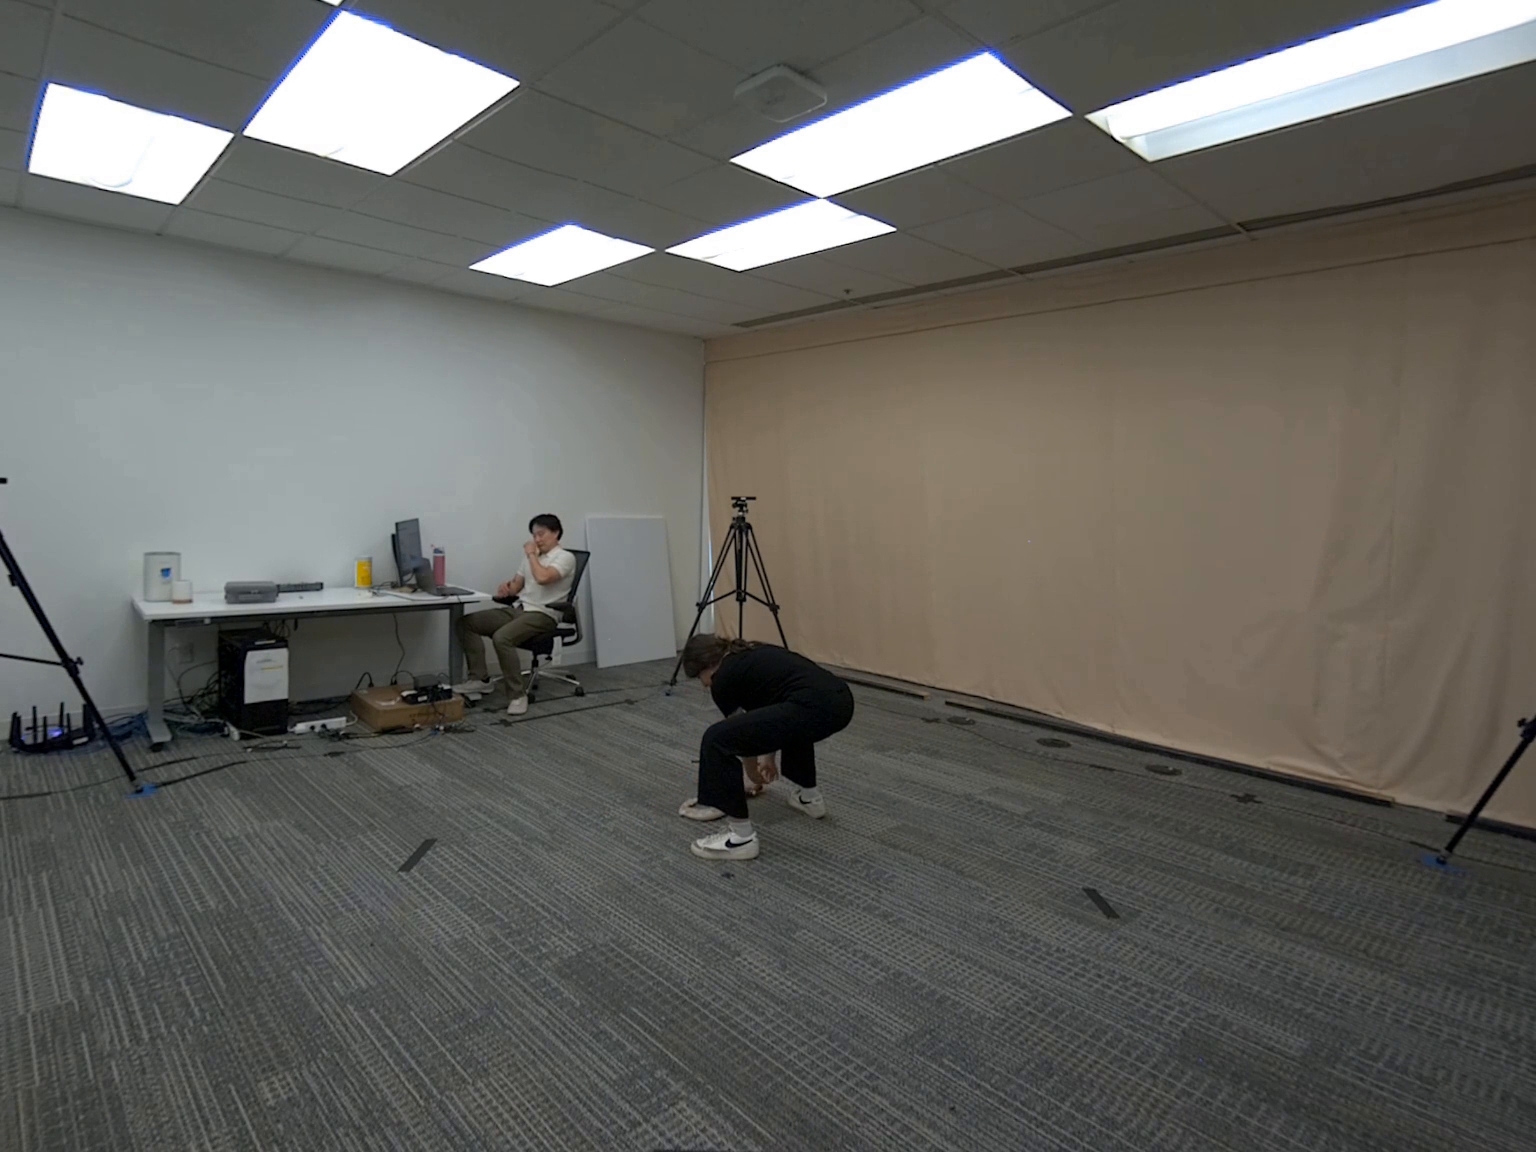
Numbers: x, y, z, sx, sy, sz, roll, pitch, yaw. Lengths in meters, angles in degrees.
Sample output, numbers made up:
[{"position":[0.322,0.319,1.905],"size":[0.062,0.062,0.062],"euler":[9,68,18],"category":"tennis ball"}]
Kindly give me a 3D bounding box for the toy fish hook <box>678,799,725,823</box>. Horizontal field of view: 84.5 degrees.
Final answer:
[{"position":[-0.222,1.019,3.846],"size":[0.230,0.048,0.496],"euler":[7,7,32],"category":"toy fish hook"}]
